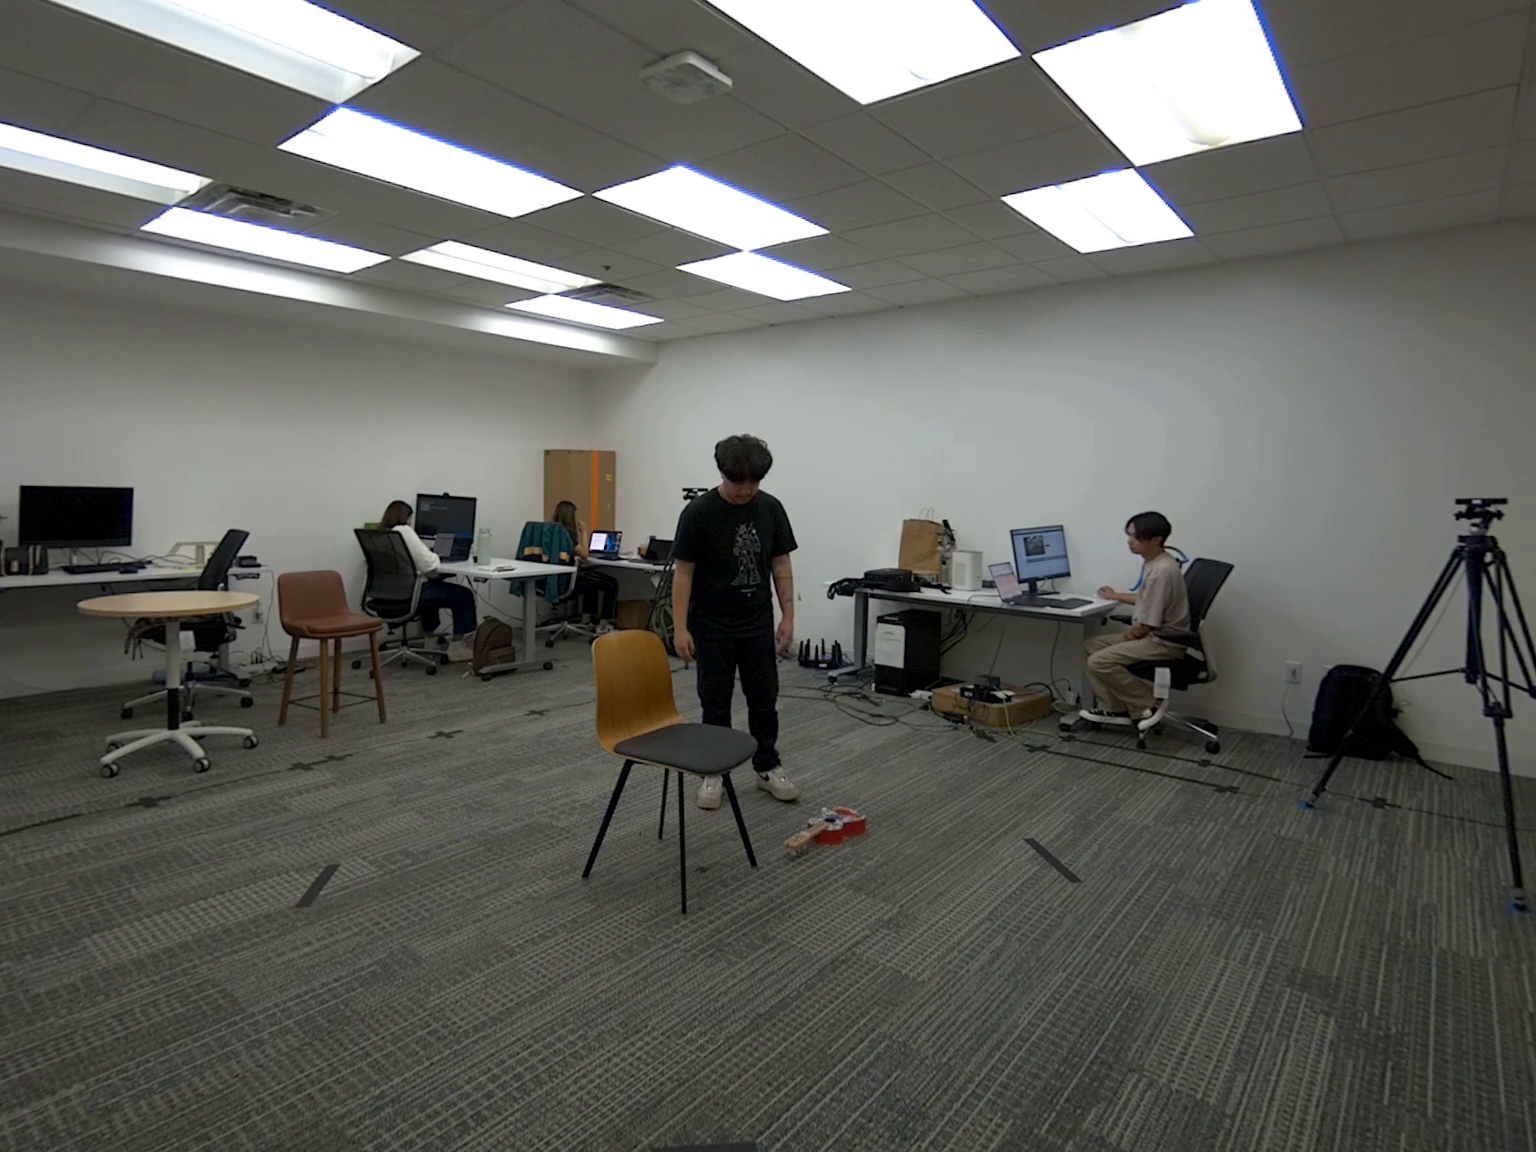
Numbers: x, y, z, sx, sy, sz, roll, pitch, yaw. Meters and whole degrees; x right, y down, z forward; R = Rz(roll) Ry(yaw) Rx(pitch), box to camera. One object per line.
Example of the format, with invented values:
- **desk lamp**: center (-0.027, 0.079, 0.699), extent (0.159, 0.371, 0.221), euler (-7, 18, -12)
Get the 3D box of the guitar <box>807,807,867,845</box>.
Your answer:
- **guitar**: center (0.187, 1.018, 3.410), extent (0.200, 0.070, 0.483), euler (7, 7, 43)
